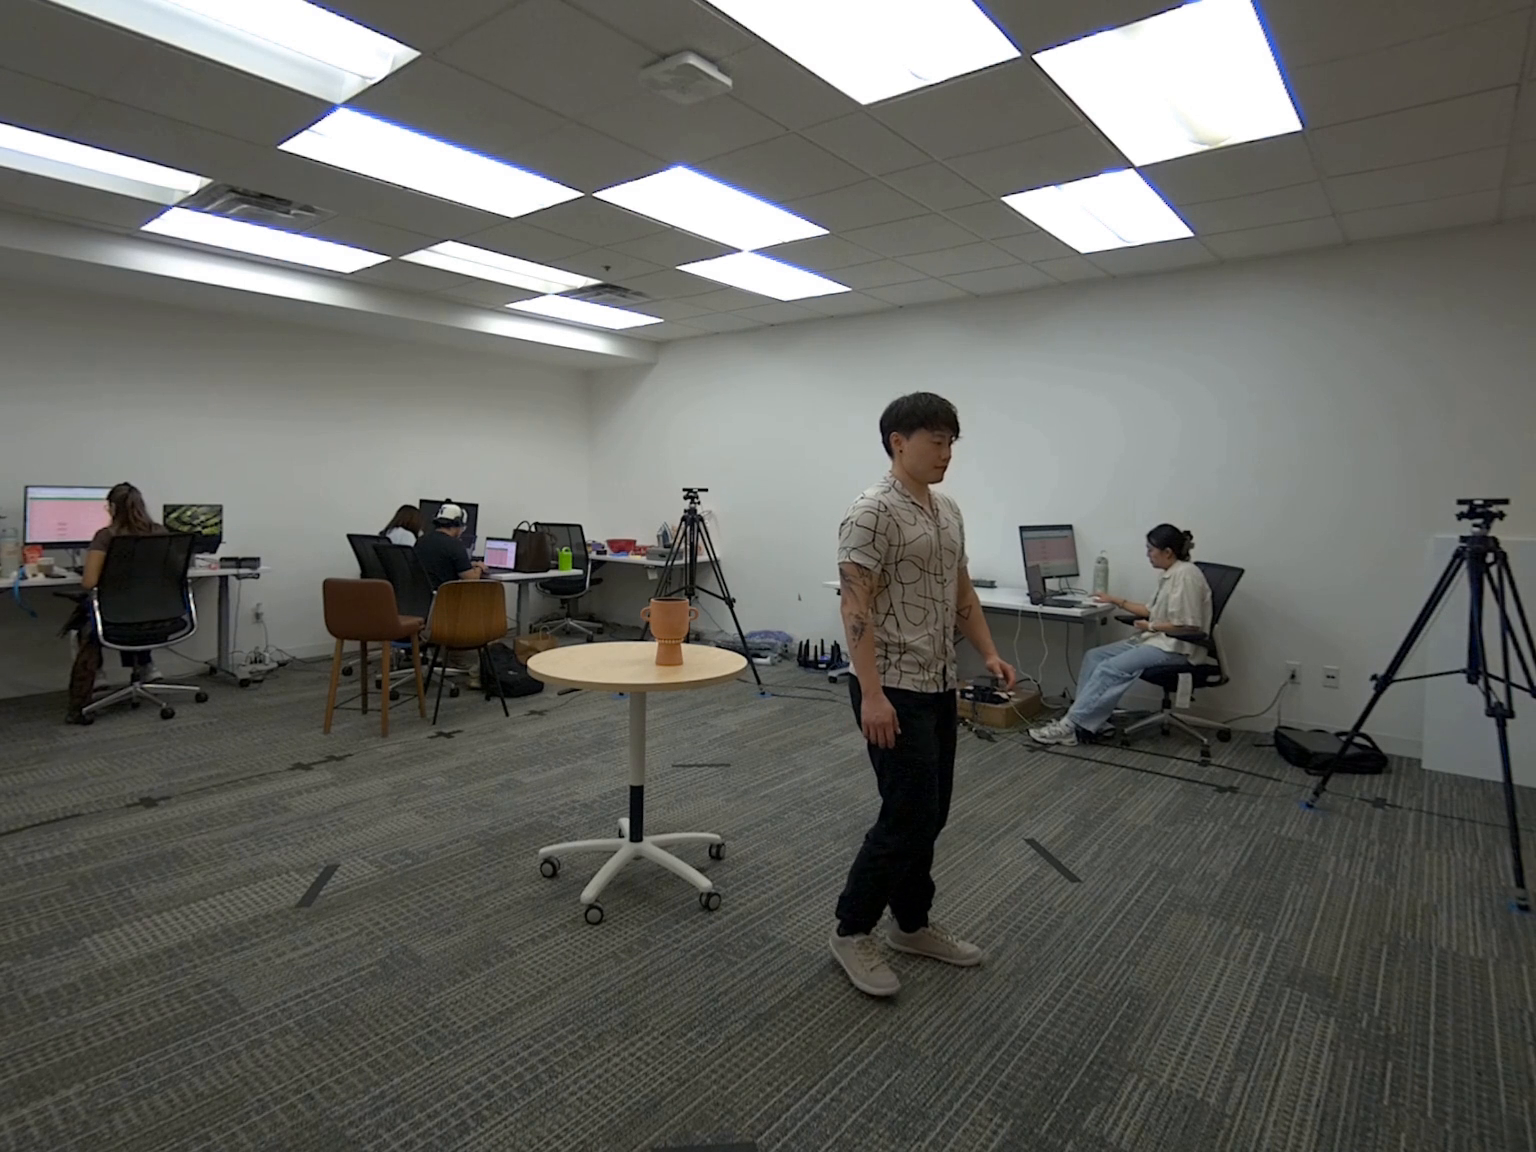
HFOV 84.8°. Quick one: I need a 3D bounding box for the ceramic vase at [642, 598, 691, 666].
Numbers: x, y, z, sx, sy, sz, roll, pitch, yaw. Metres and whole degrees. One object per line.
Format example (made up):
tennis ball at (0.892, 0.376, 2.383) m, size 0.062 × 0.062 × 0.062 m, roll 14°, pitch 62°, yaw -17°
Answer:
ceramic vase at (-0.353, 0.191, 2.930) m, size 0.163 × 0.219 × 0.131 m, roll 2°, pitch 4°, yaw 31°
